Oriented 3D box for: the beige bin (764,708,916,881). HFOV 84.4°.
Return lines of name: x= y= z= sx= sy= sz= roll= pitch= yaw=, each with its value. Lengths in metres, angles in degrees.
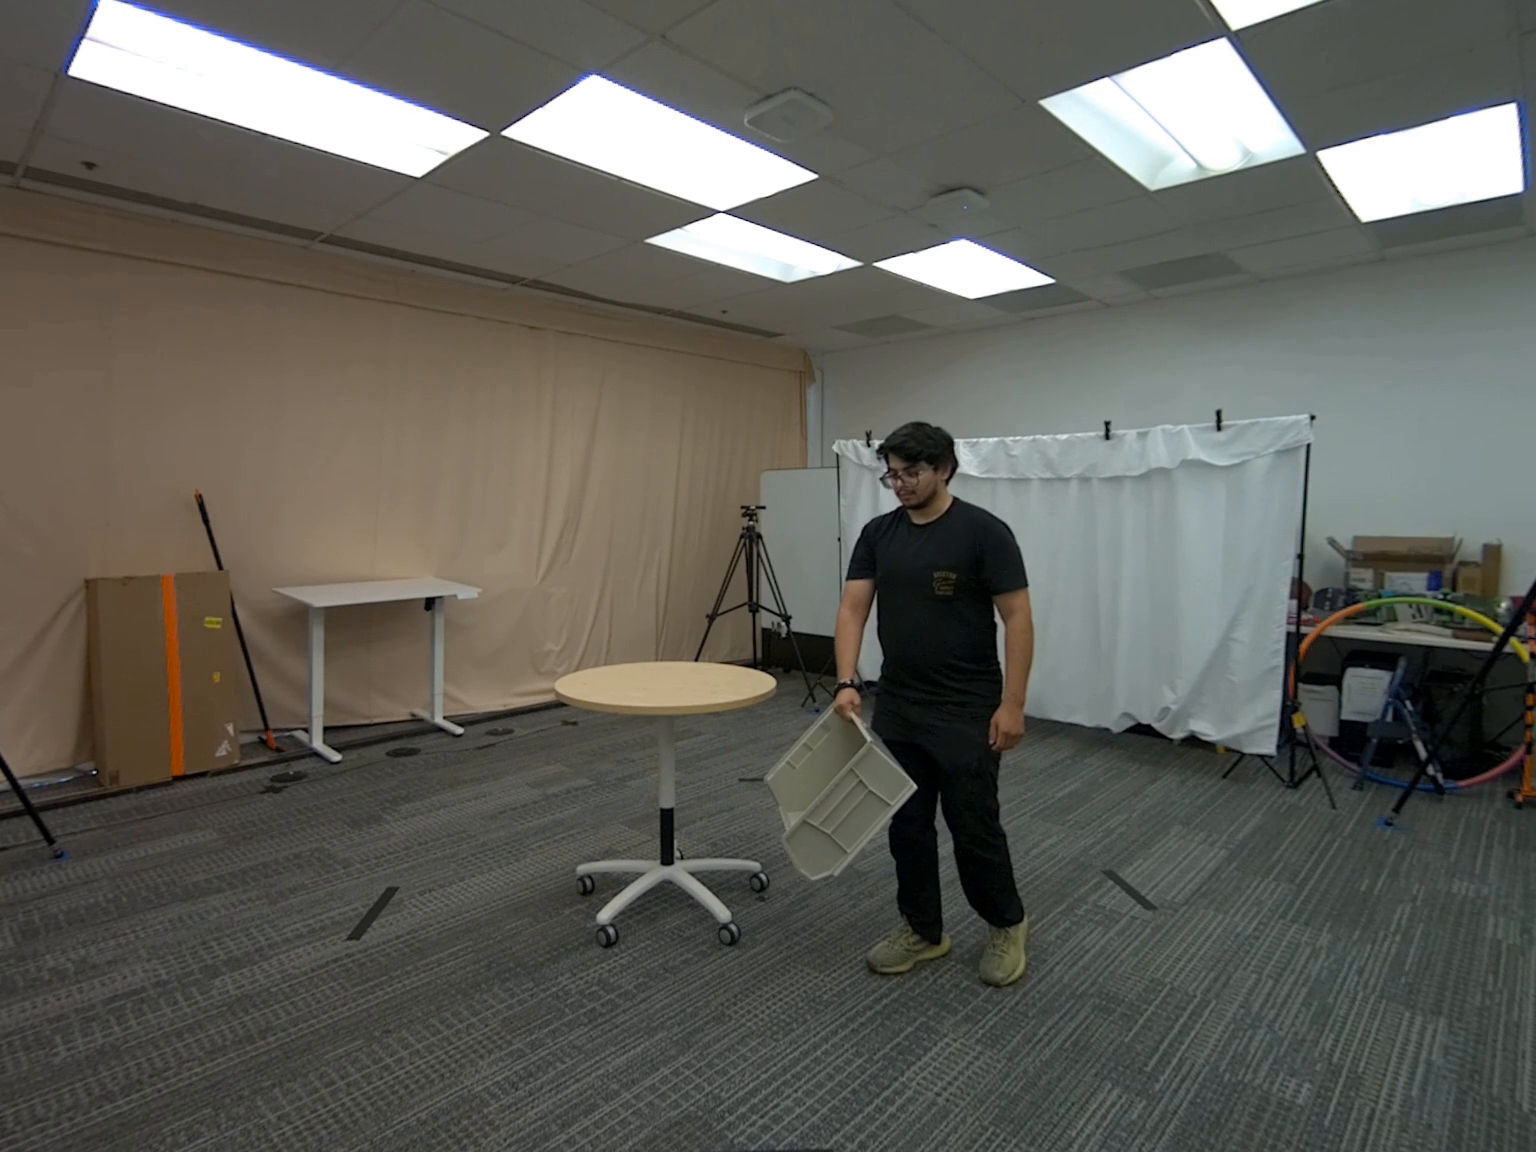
beige bin: x=0.166 y=0.585 z=2.338 sx=0.188 sy=0.378 sz=0.423 roll=44 pitch=4 yaw=-4
